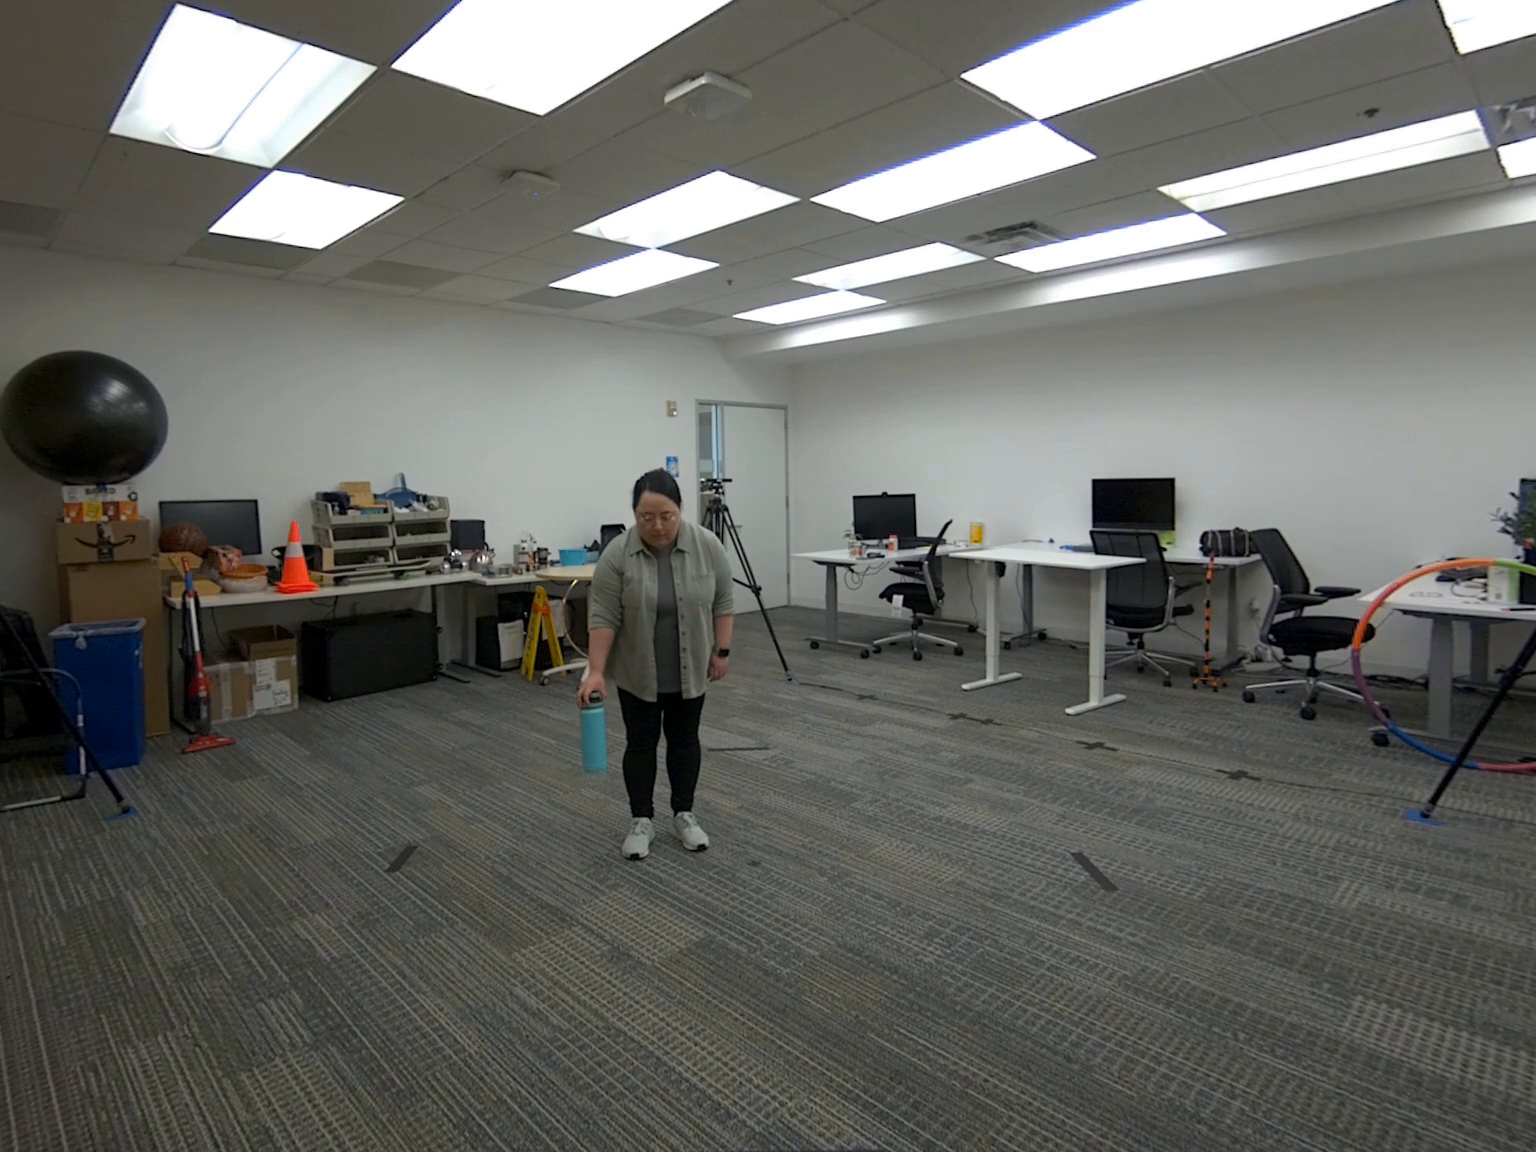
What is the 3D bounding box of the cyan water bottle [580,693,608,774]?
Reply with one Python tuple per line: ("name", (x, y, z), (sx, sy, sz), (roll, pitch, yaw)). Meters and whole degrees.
("cyan water bottle", (-0.626, 0.560, 3.078), (0.092, 0.283, 0.092), (-2, 2, -2))
